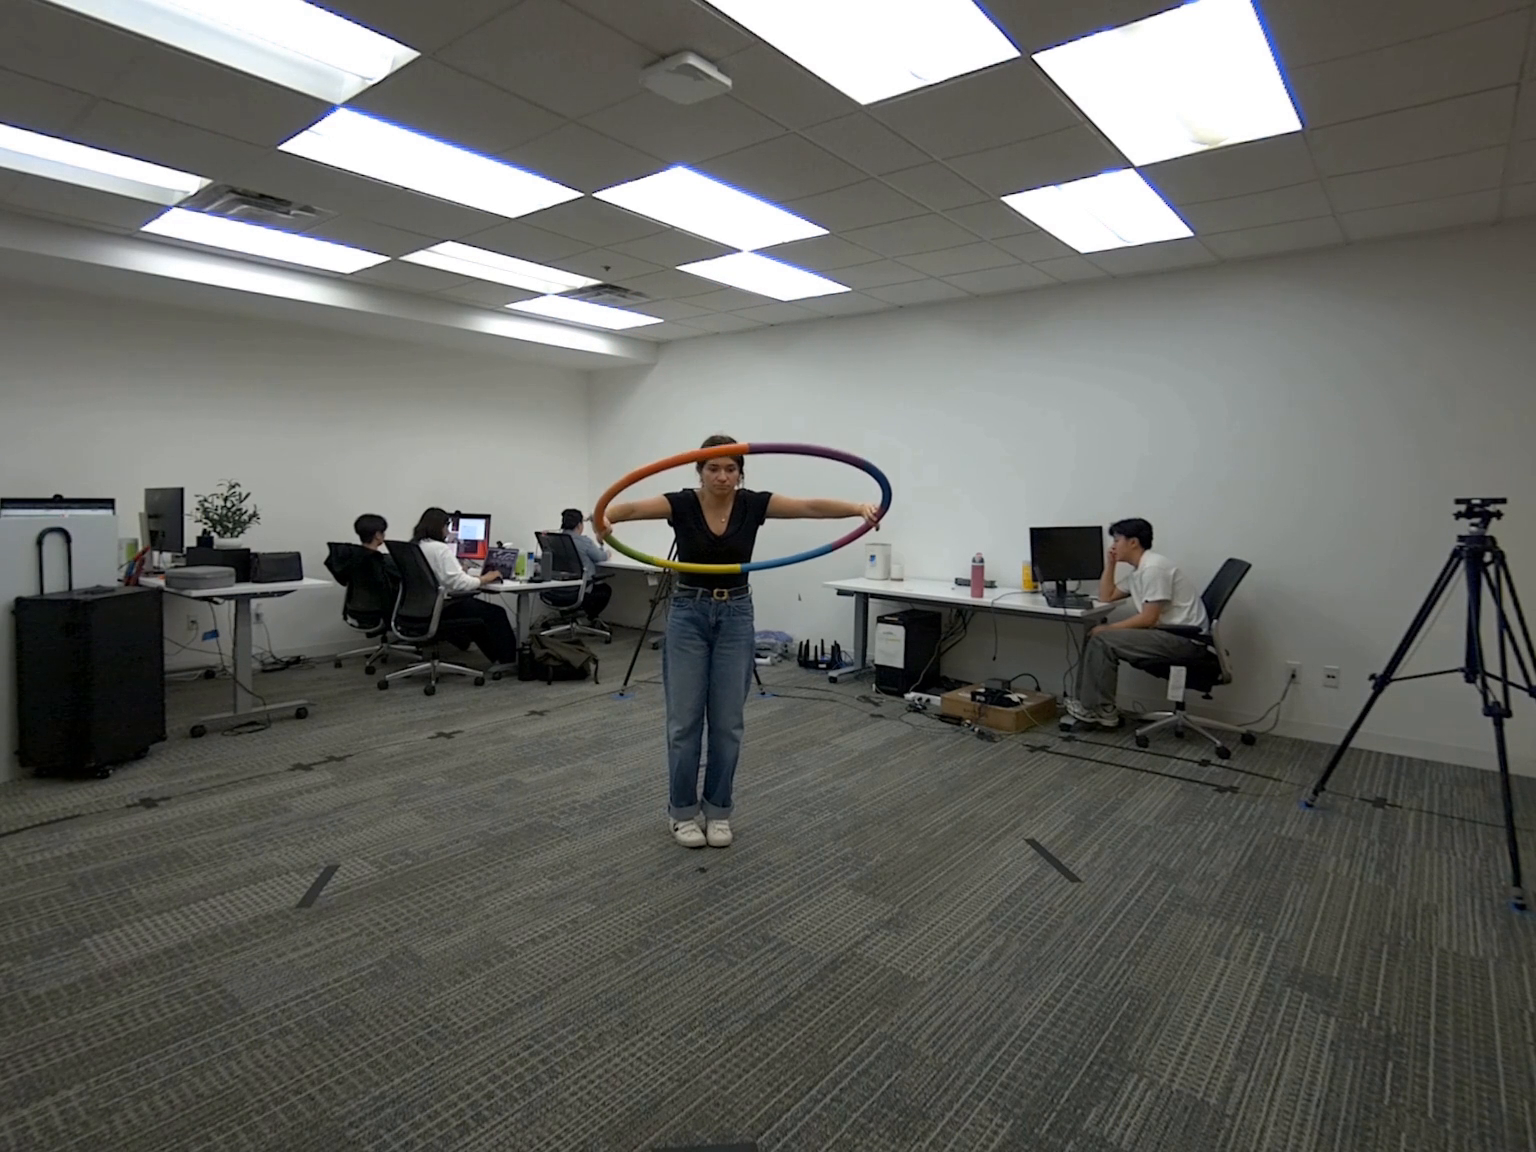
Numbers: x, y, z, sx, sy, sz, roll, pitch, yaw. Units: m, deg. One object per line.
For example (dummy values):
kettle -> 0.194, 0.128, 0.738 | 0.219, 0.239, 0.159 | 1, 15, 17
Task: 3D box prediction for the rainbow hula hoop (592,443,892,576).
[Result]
rainbow hula hoop -> -0.102, -0.204, 2.817 | 0.976, 0.036, 0.961 | -4, -19, -3
